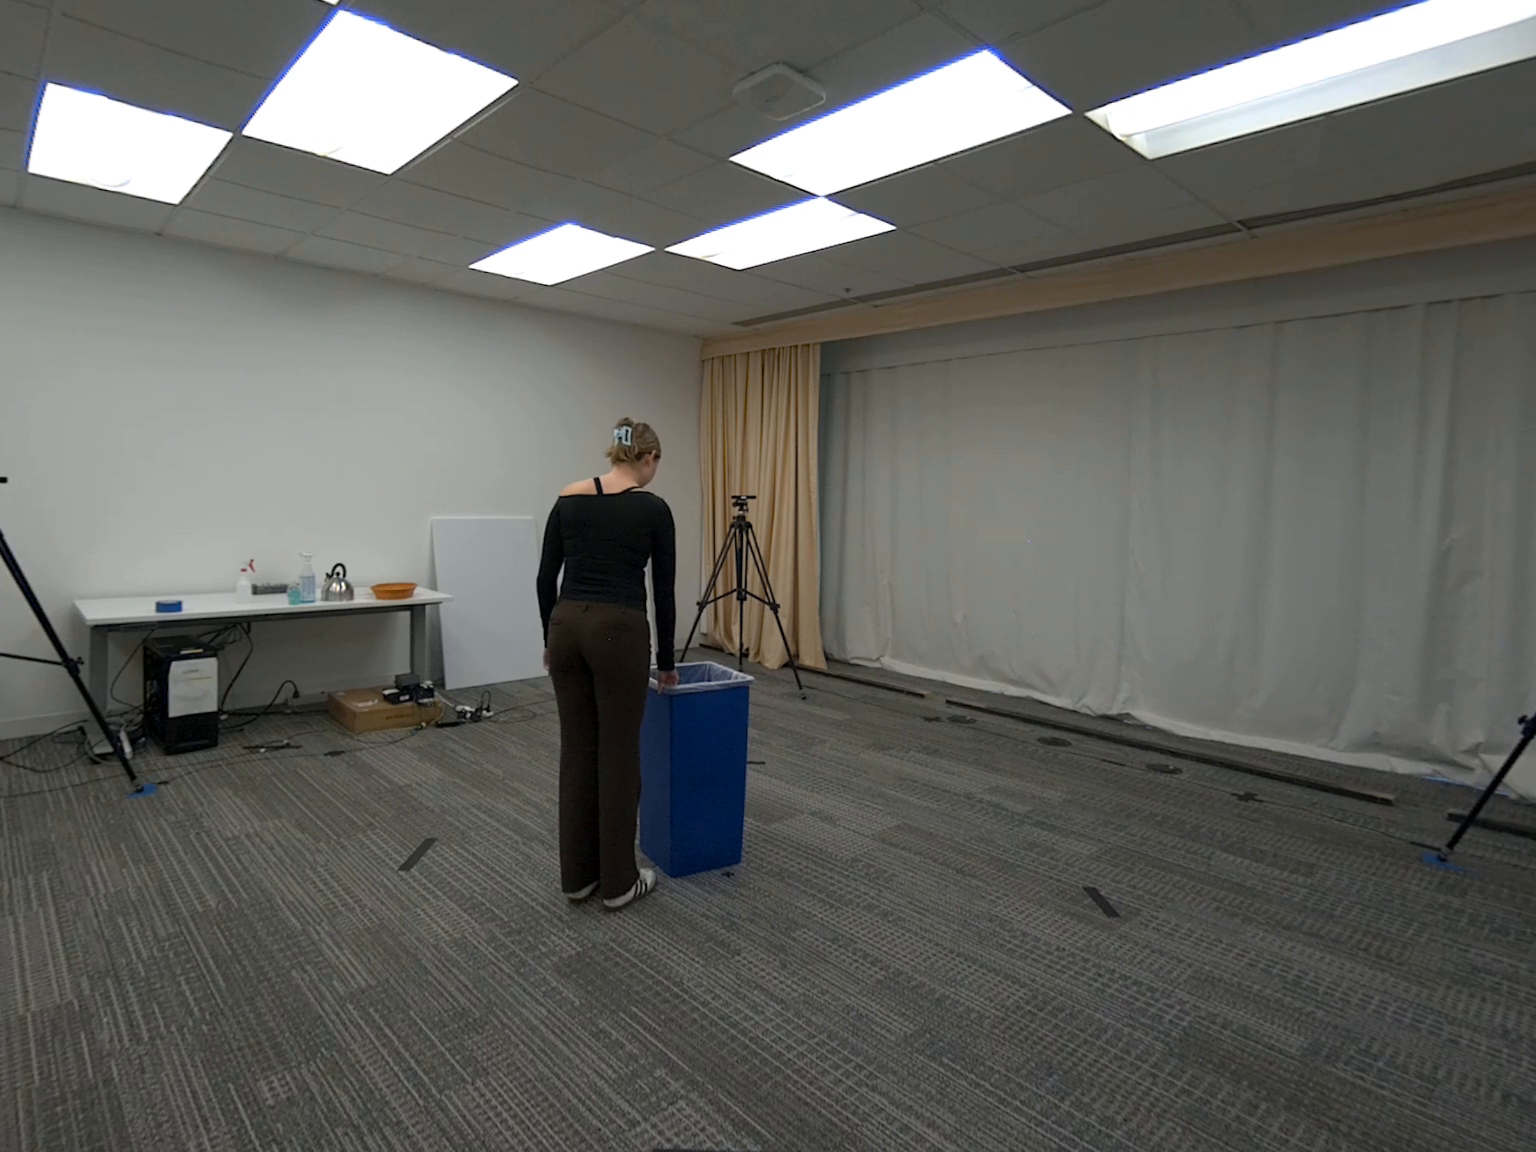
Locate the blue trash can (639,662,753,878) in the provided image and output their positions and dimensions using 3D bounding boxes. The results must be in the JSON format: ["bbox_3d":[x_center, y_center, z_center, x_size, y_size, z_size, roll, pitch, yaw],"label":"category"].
[{"bbox_3d":[-0.304,0.730,3.232,0.366,0.712,0.387,-1,4,-31],"label":"blue trash can"}]
